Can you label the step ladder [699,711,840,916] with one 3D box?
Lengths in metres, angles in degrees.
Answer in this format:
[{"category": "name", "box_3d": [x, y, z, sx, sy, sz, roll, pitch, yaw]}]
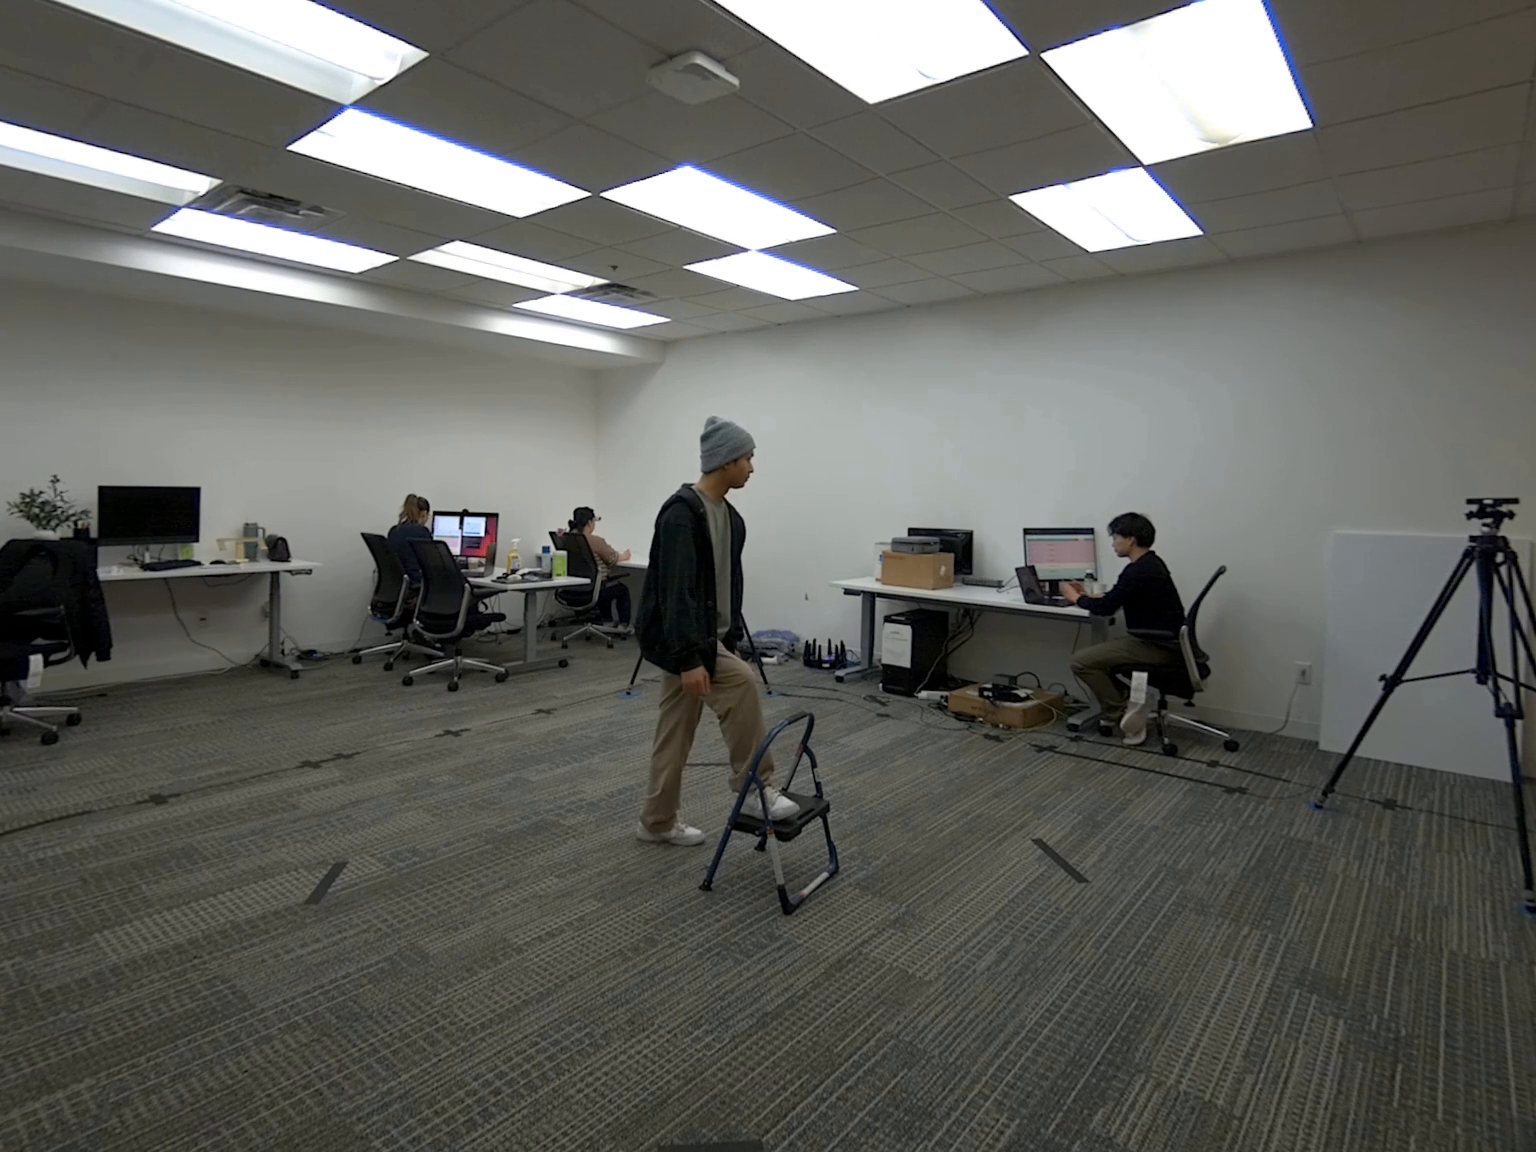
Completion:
[{"category": "step ladder", "box_3d": [0.017, 0.778, 3.017, 0.359, 0.604, 0.420, 4, 4, 29]}]
